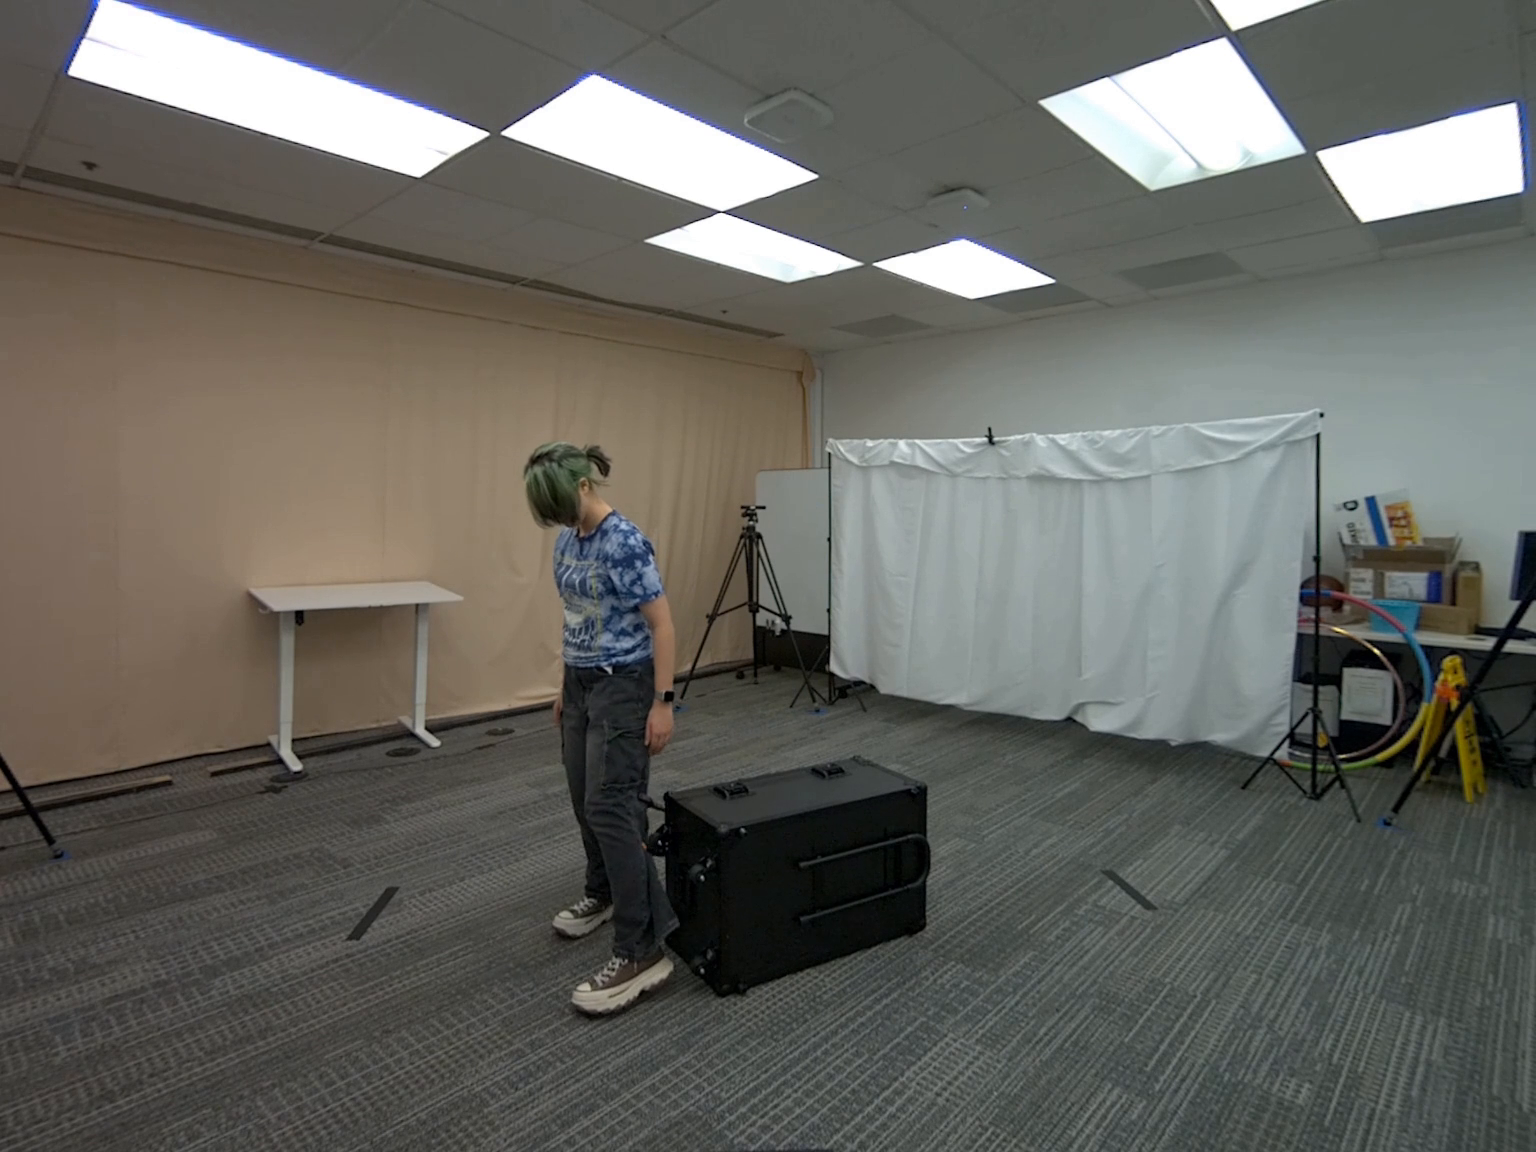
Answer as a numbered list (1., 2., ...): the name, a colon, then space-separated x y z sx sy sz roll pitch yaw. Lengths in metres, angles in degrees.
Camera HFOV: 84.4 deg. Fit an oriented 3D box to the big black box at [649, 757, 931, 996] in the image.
1. big black box: 0.080 0.926 2.680 0.839 0.520 0.408 -3 5 -30
